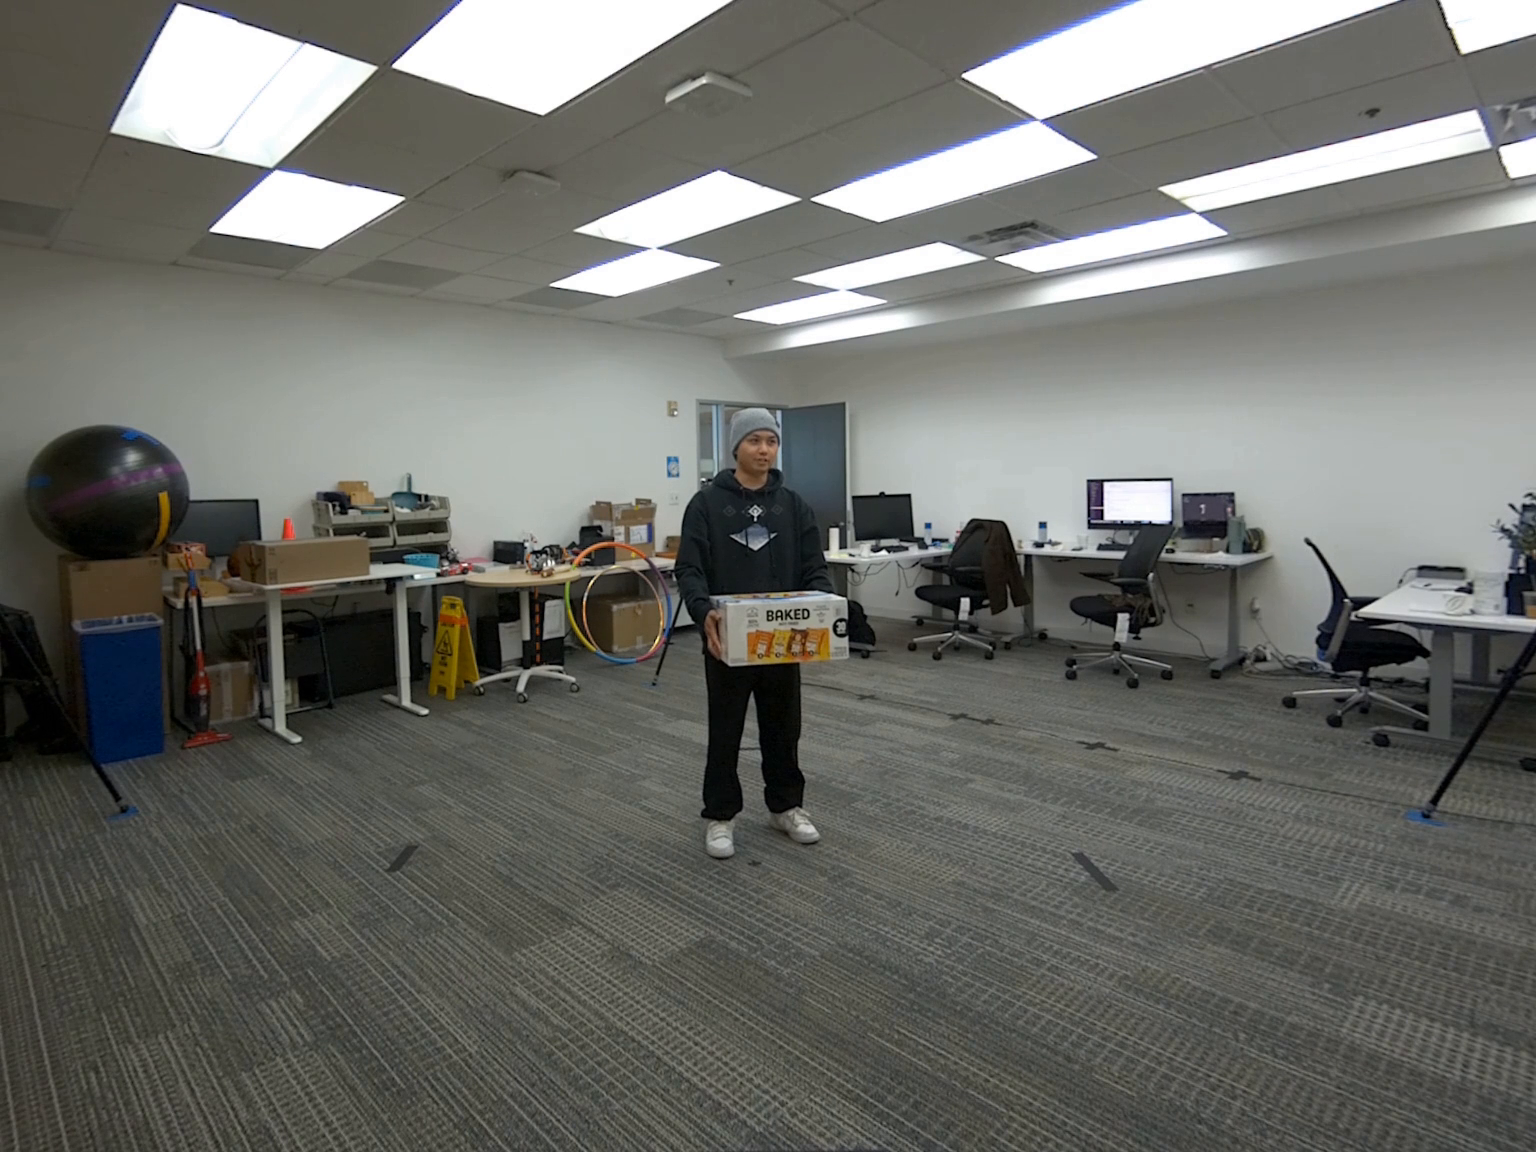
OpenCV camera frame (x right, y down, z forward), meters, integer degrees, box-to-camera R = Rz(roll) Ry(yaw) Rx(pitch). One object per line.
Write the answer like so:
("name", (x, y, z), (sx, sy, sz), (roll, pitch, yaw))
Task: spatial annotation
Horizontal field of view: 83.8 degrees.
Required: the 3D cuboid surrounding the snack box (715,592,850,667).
("snack box", (0.025, 0.177, 2.932), (0.401, 0.205, 0.344), (-3, 2, -12))
